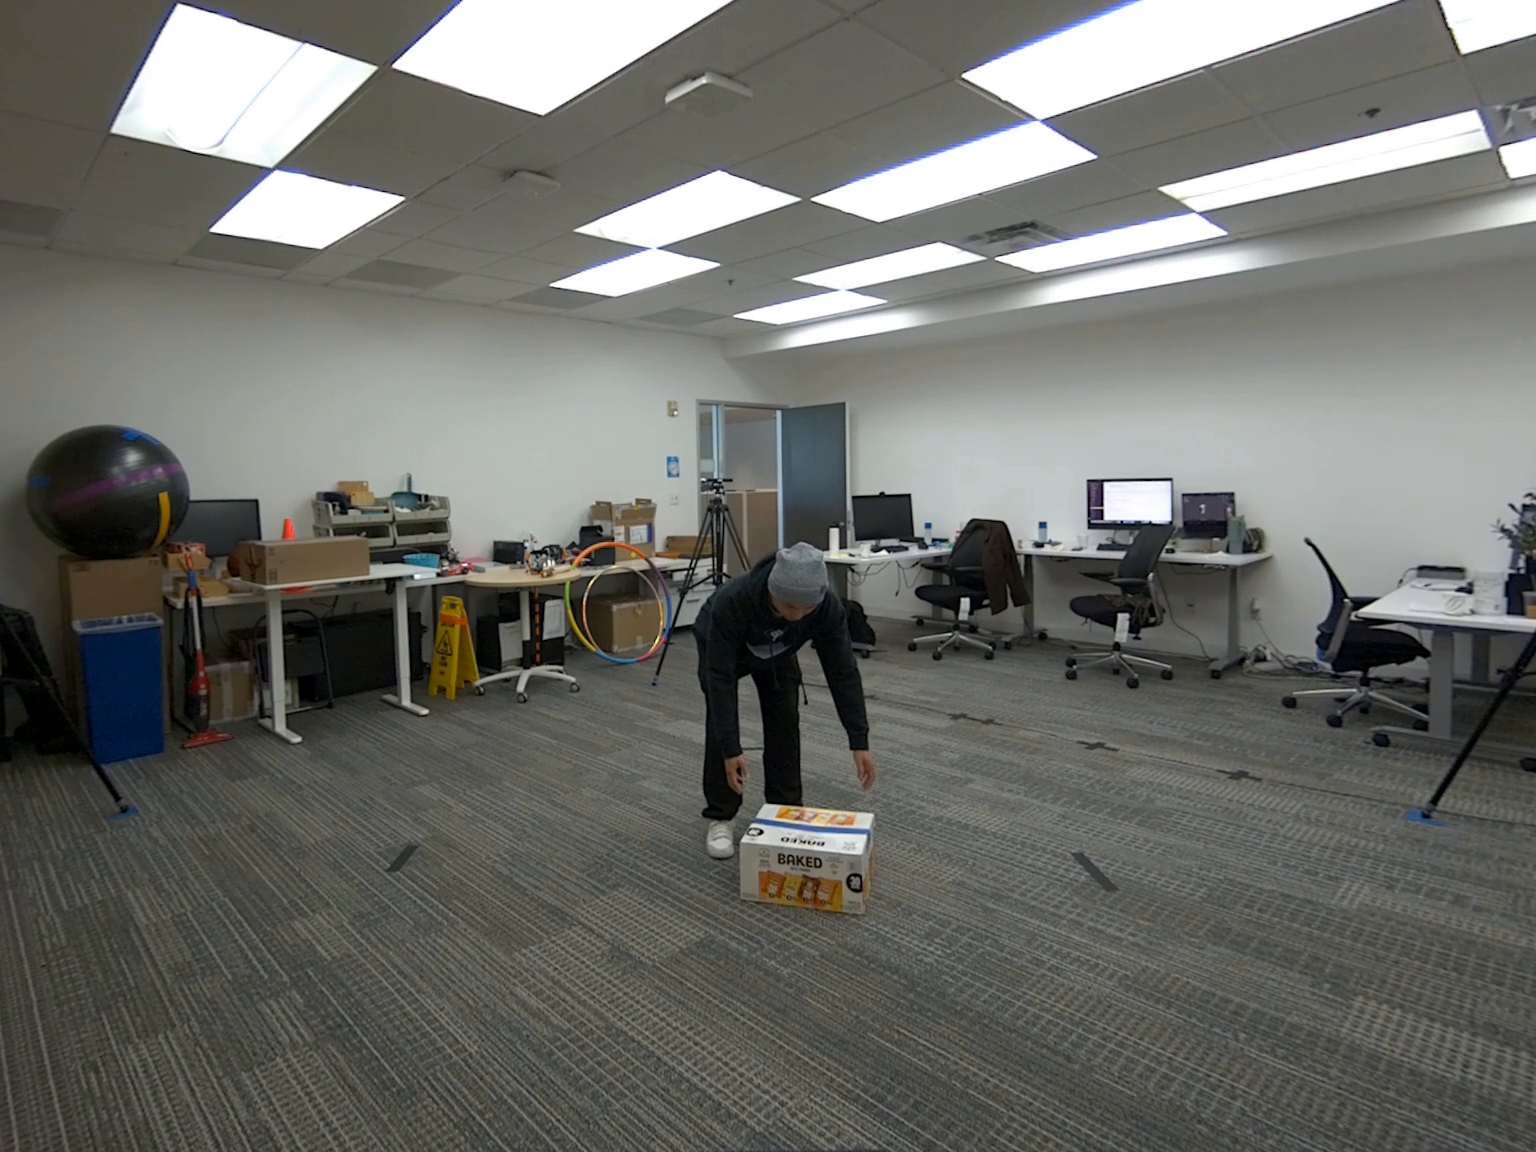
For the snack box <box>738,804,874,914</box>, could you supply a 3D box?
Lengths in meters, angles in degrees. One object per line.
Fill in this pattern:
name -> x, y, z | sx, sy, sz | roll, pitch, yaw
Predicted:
snack box -> 0.148, 0.960, 2.929 | 0.411, 0.205, 0.337 | 1, 6, 15
